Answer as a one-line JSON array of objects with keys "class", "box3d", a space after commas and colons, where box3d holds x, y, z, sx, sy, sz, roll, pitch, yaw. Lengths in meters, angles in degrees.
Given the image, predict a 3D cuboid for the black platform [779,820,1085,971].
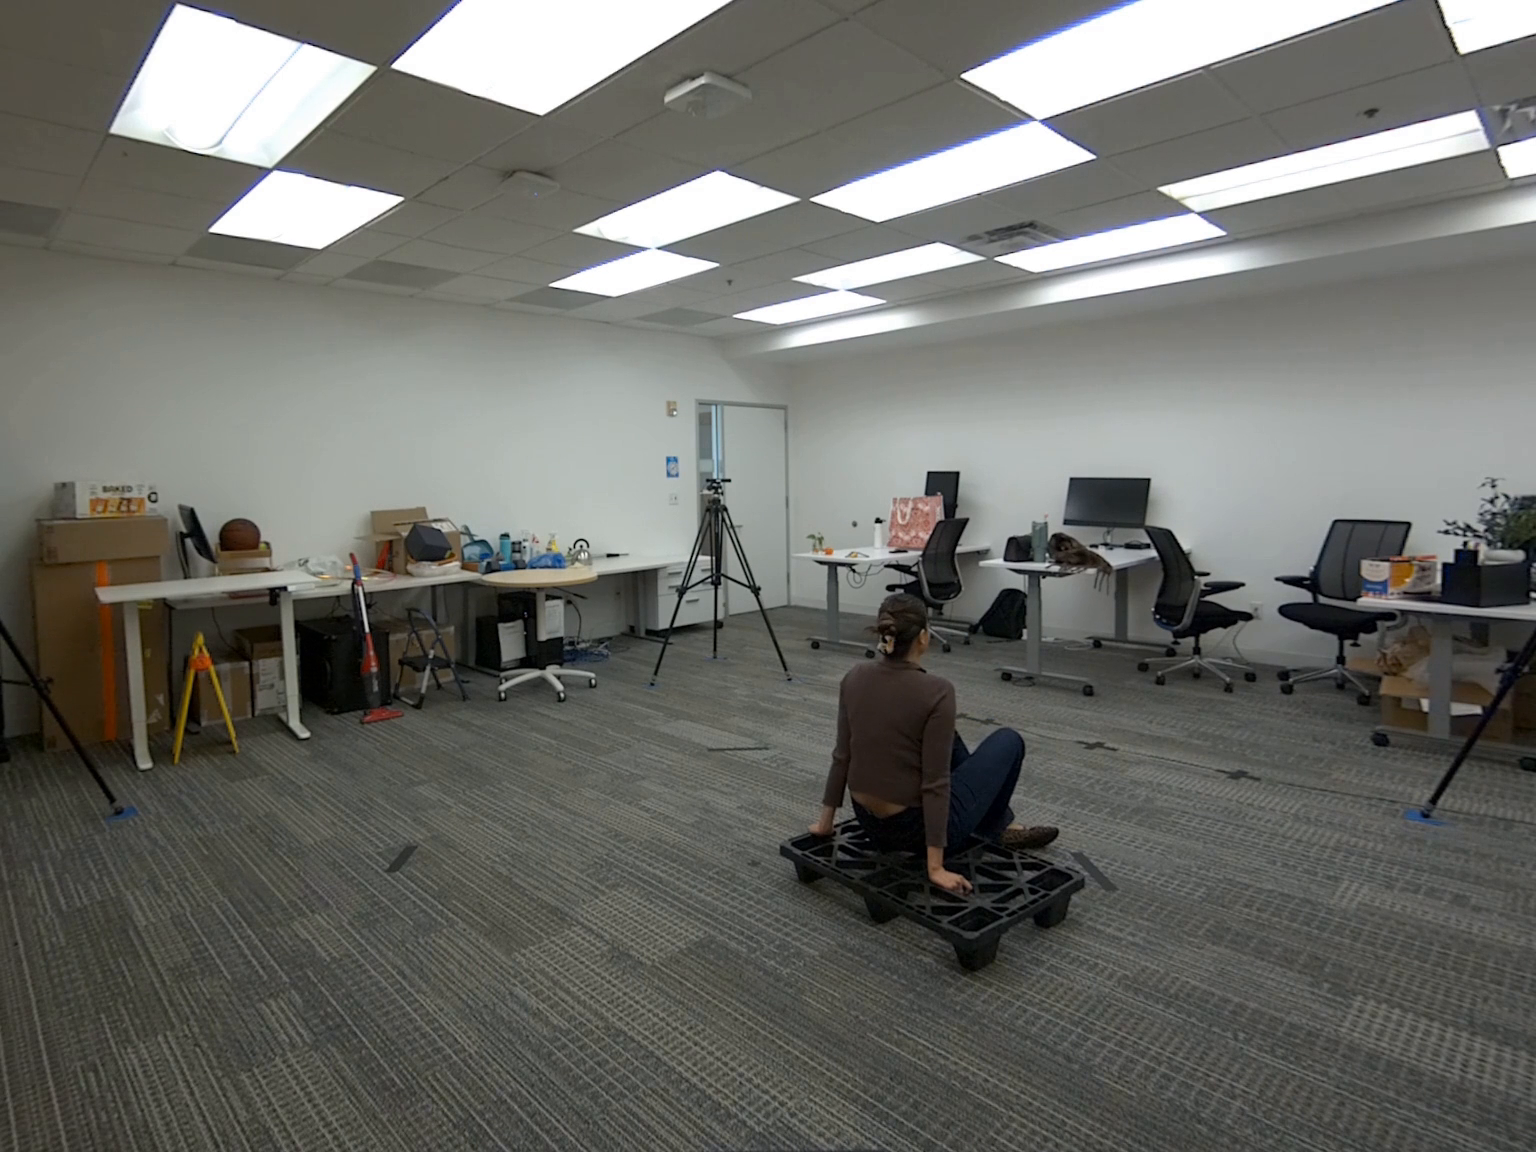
[{"class": "black platform", "box3d": [0.519, 1.003, 2.820, 0.590, 0.143, 0.830, -6, 8, -38]}]
